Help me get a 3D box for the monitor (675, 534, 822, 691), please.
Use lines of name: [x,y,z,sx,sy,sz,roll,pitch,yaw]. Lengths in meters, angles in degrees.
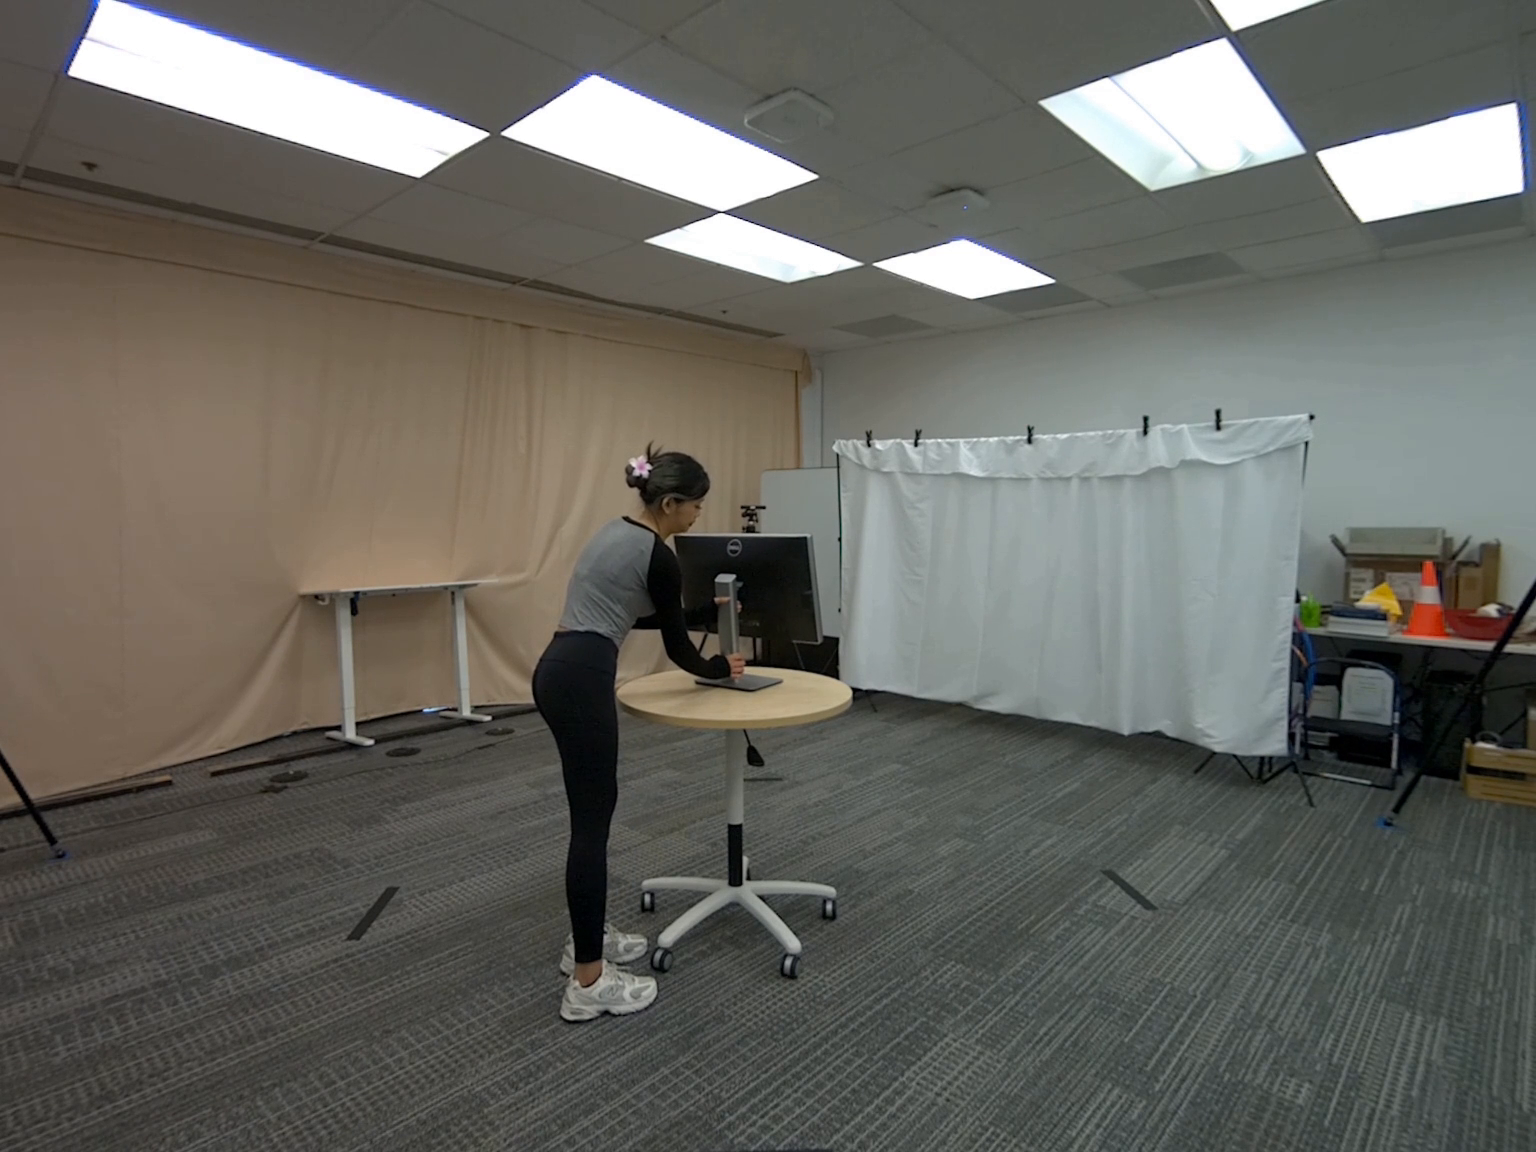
monitor: [-0.099,0.119,2.842,0.556,0.522,0.181,2,0,34]
